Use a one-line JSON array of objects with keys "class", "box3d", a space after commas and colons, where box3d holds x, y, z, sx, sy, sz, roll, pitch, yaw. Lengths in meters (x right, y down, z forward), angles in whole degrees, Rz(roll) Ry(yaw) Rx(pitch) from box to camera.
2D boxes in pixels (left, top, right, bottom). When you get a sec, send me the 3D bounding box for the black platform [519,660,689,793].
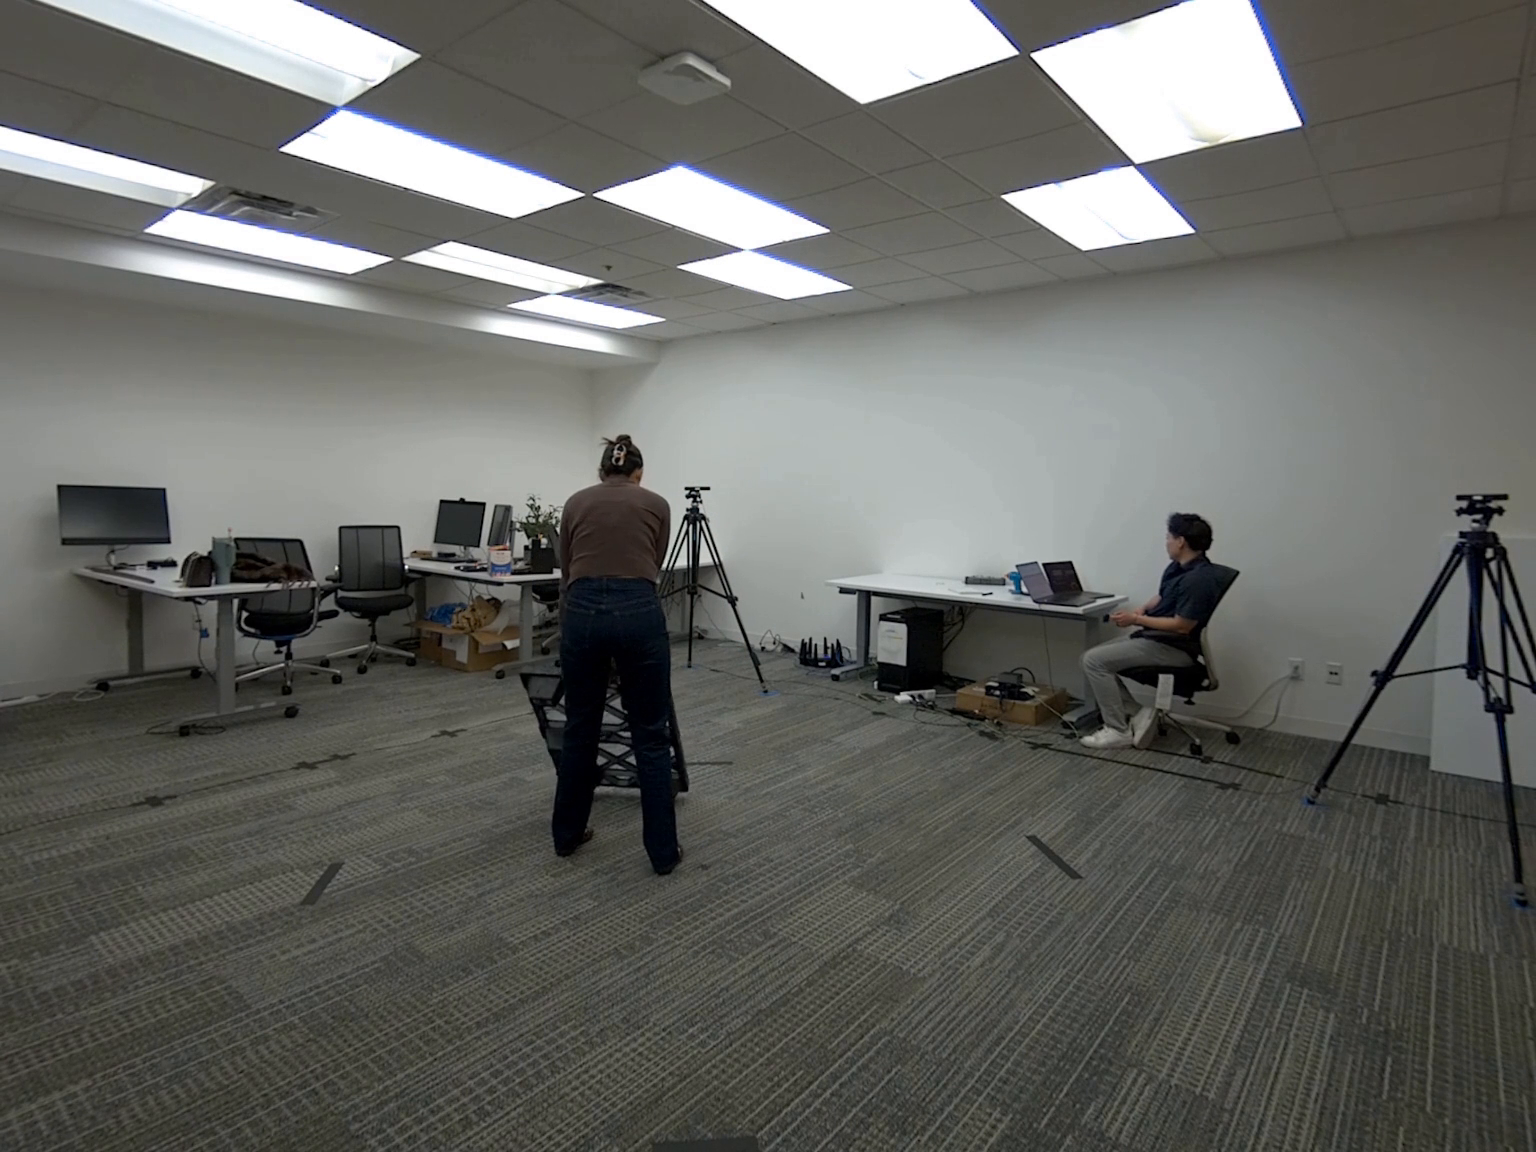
[{"class": "black platform", "box3d": [-0.686, 0.691, 3.546, 0.610, 0.780, 0.147, 1, 42, 7]}]
